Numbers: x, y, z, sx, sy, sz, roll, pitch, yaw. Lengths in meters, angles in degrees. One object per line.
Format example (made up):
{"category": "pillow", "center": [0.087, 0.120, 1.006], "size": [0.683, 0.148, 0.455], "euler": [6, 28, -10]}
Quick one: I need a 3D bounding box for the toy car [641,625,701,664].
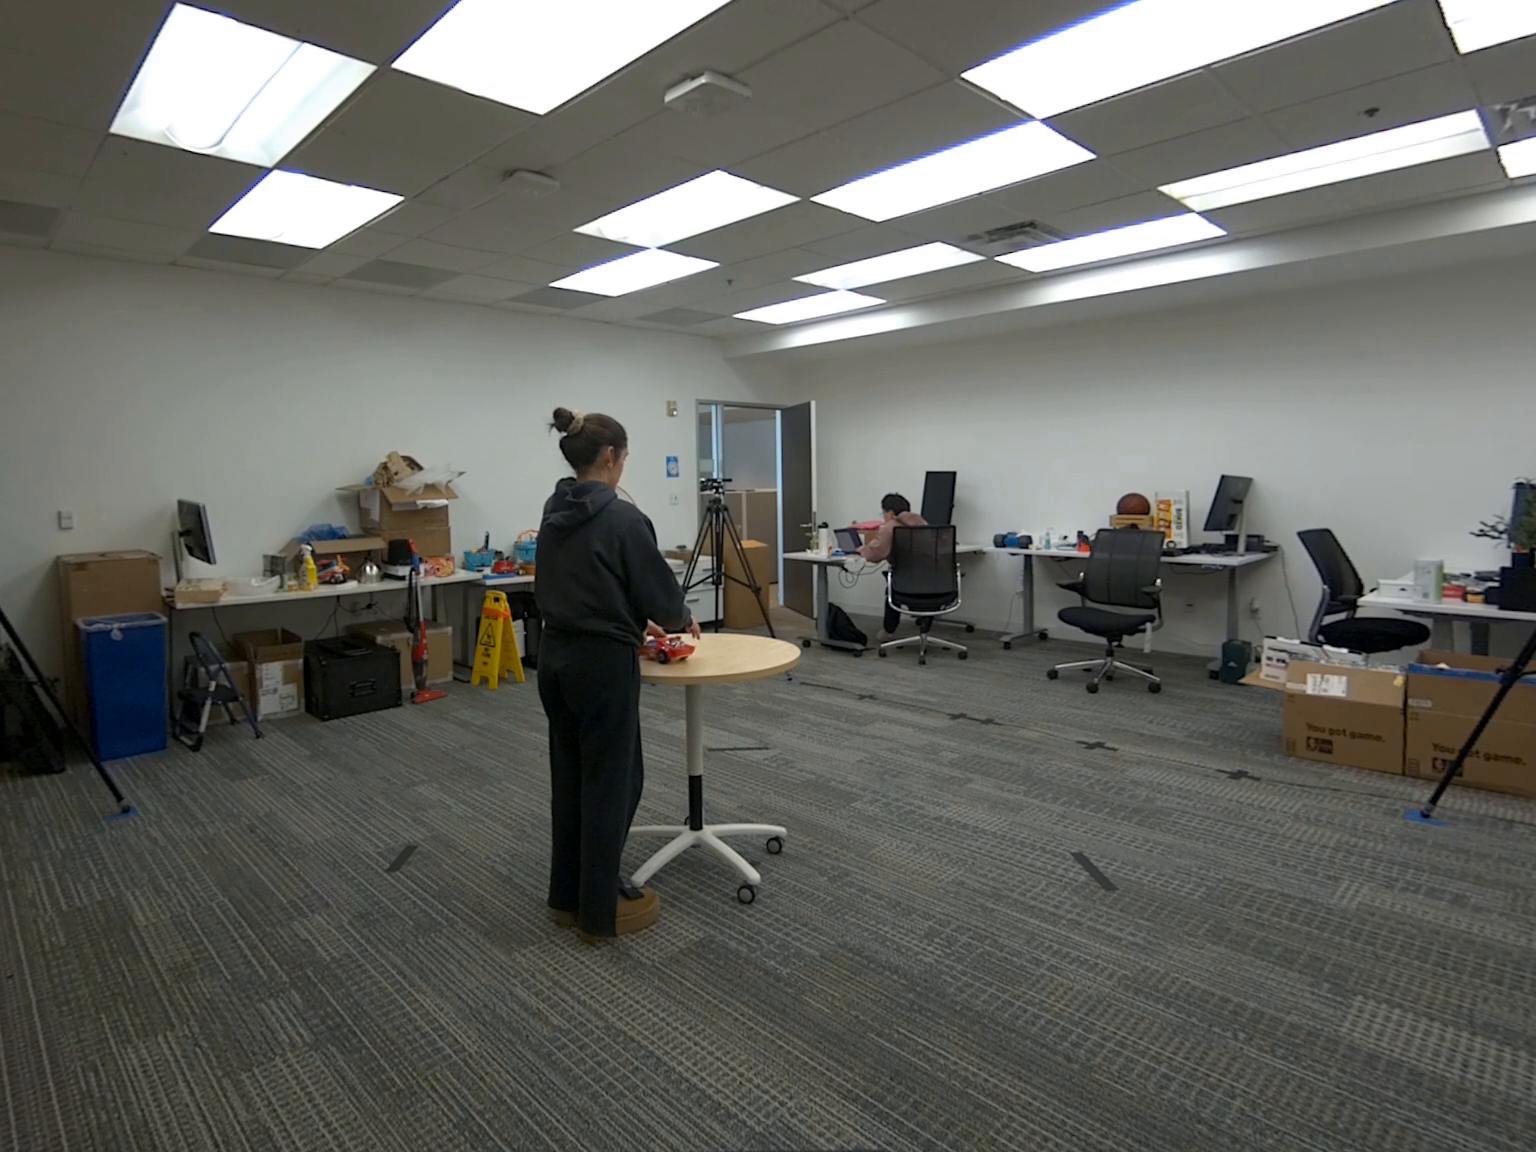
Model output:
{"category": "toy car", "center": [-0.359, 0.257, 2.920], "size": [0.260, 0.083, 0.127], "euler": [-11, -3, 40]}
